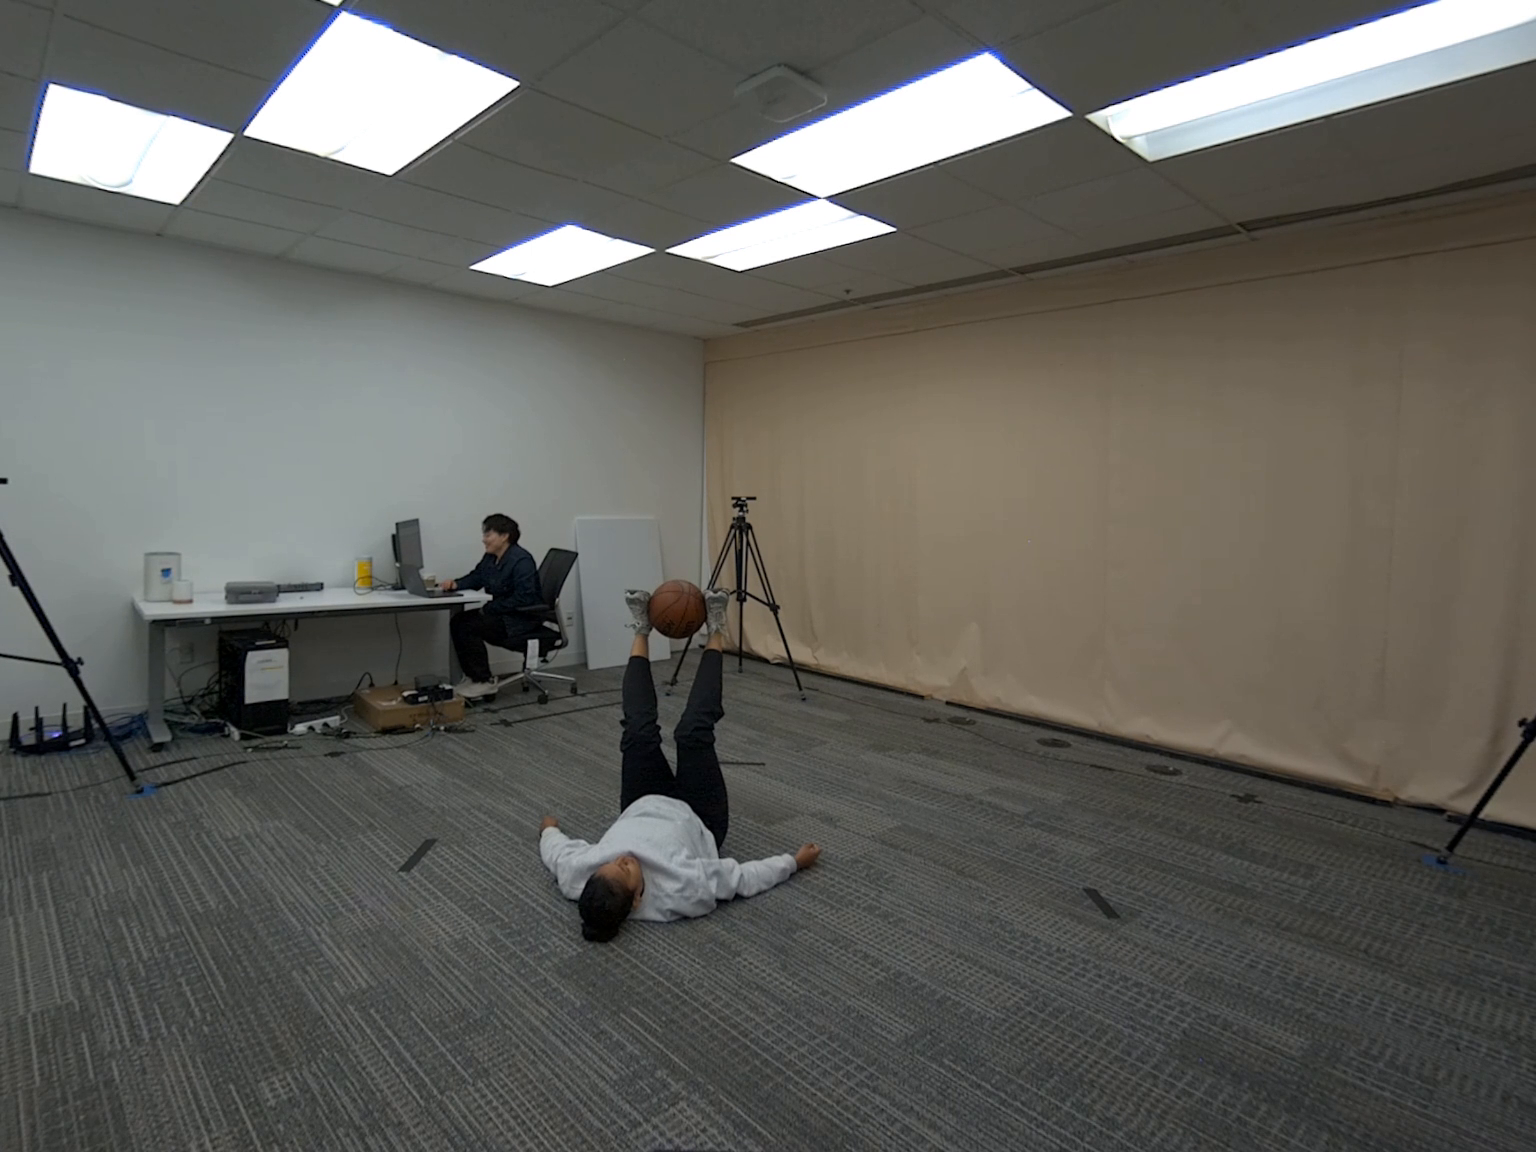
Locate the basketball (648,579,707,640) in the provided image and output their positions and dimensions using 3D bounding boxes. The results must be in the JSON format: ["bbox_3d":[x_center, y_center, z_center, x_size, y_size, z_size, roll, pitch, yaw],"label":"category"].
[{"bbox_3d":[-0.372,0.134,3.392,0.235,0.235,0.237,4,7,-2],"label":"basketball"}]
